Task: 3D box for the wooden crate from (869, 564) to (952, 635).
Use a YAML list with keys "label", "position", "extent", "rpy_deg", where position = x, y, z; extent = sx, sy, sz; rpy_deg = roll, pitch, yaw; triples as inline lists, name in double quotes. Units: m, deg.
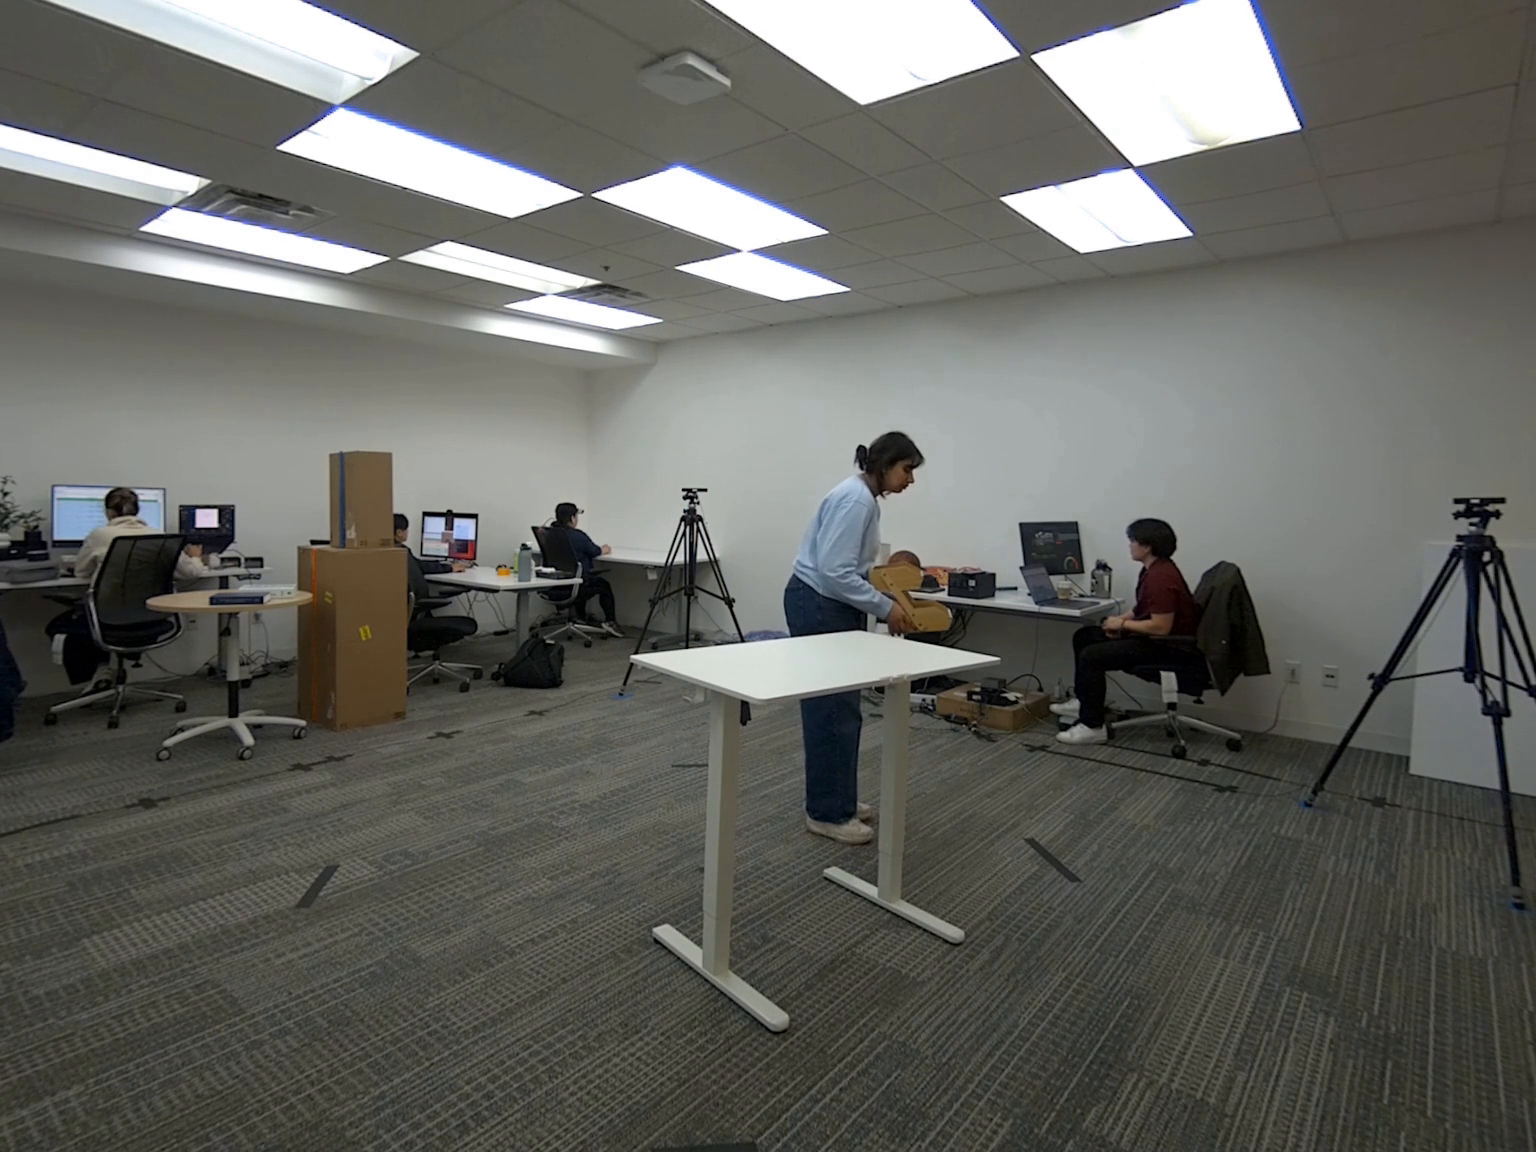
- label: "wooden crate"
  position: [0.575, 0.078, 3.493]
  extent: [0.305, 0.273, 0.322]
  rpy_deg: [-7, 2, 9]
